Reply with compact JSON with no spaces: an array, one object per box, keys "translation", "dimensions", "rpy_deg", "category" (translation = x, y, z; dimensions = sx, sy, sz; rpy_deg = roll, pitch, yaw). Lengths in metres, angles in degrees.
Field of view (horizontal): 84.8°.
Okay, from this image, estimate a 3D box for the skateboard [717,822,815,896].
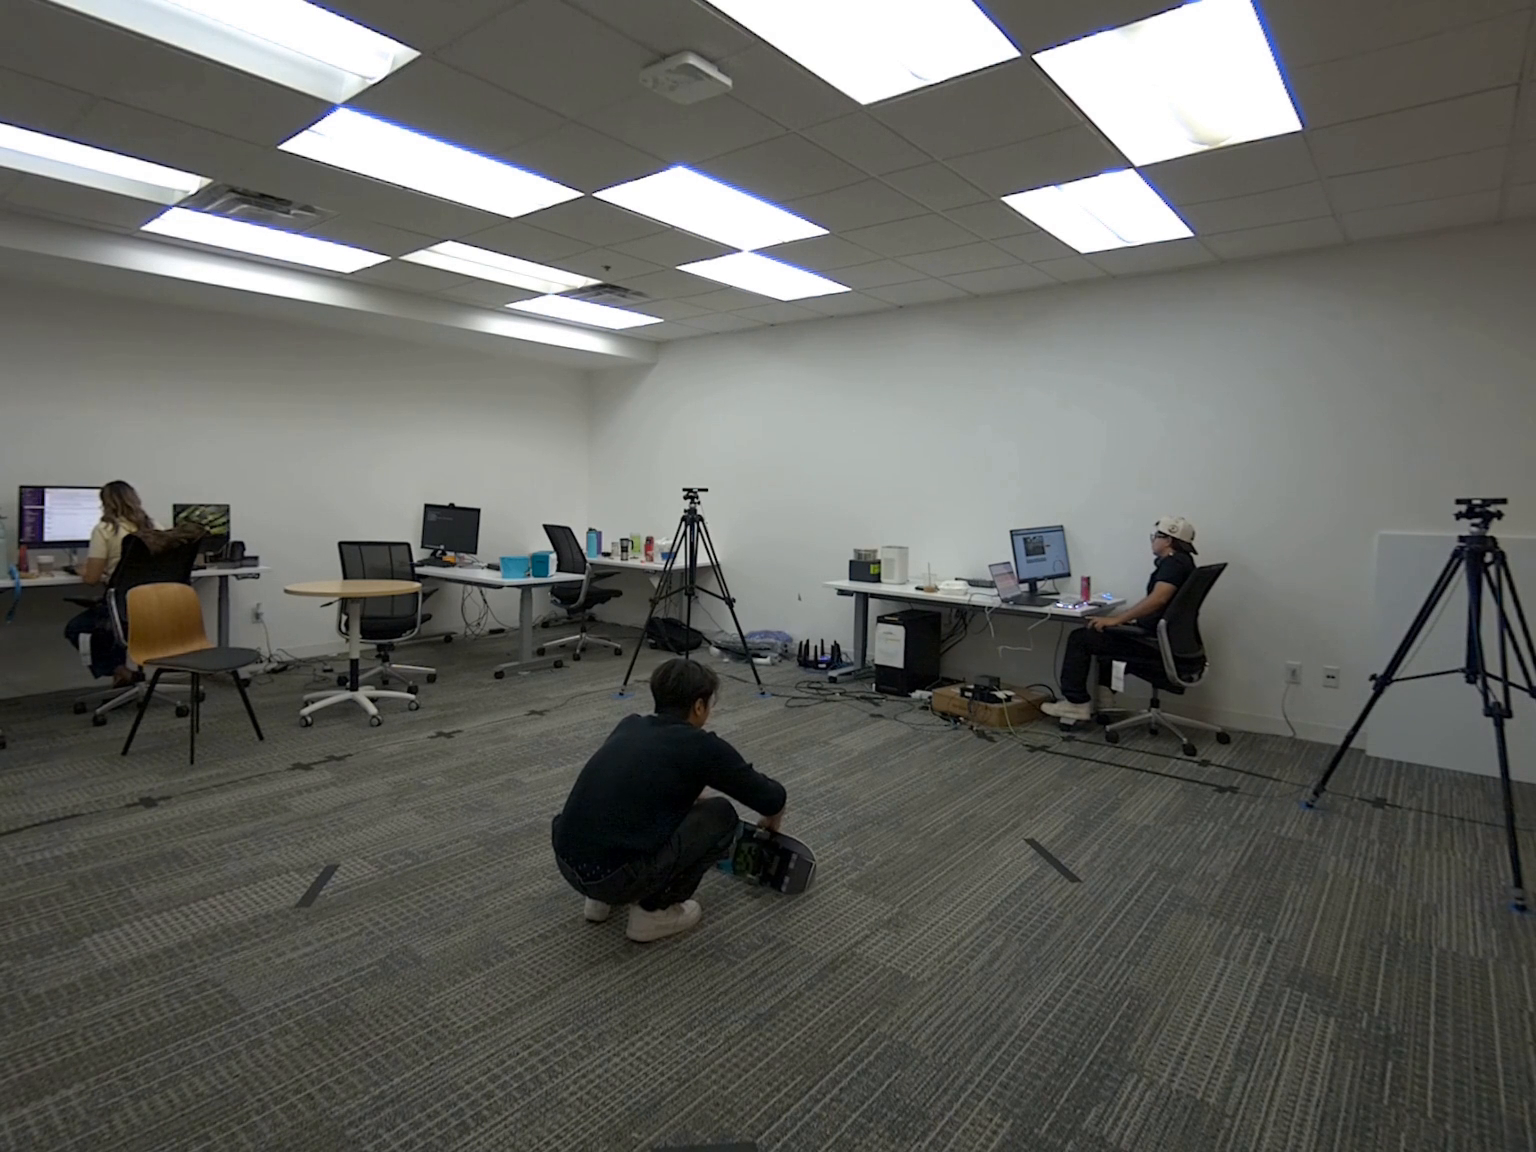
[{"translation":[-0.179,0.959,3.106],"dimensions":[0.812,0.195,0.106],"rpy_deg":[5,-12,39],"category":"skateboard"}]
